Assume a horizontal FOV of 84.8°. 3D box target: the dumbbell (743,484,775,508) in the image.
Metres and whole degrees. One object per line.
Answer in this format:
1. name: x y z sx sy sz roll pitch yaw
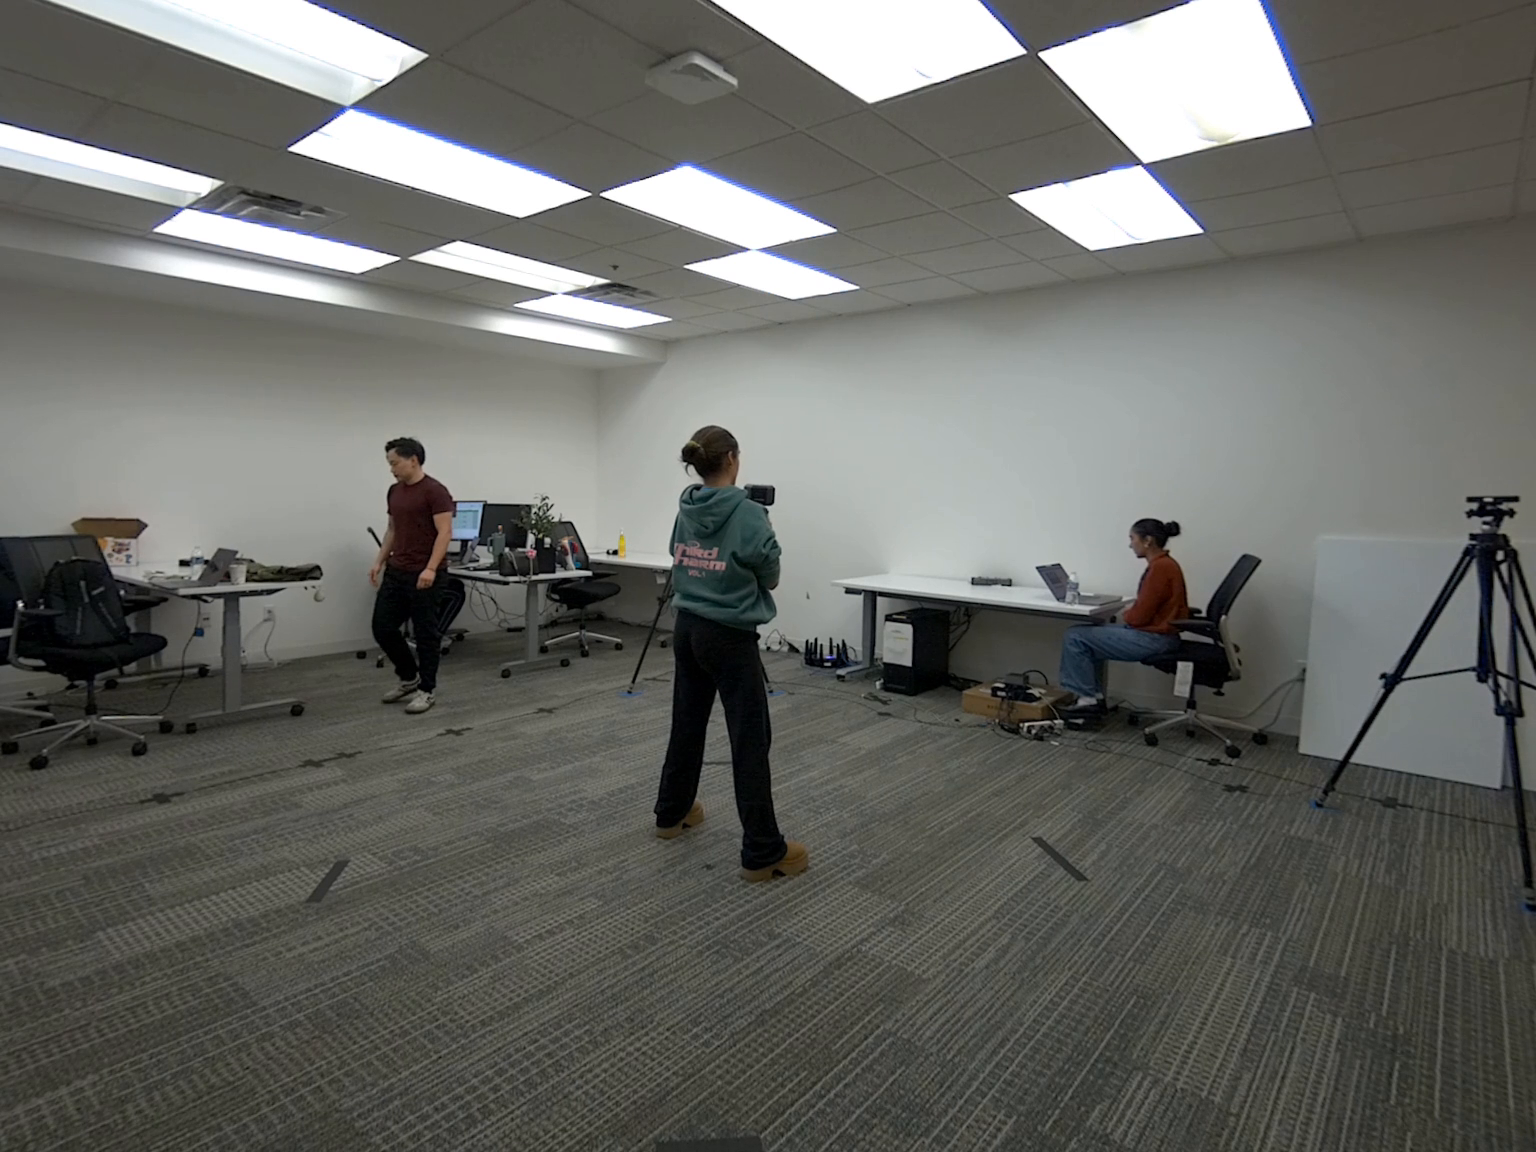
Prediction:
1. dumbbell: -0.048 -0.206 3.312 0.123 0.292 0.109 5 6 1
